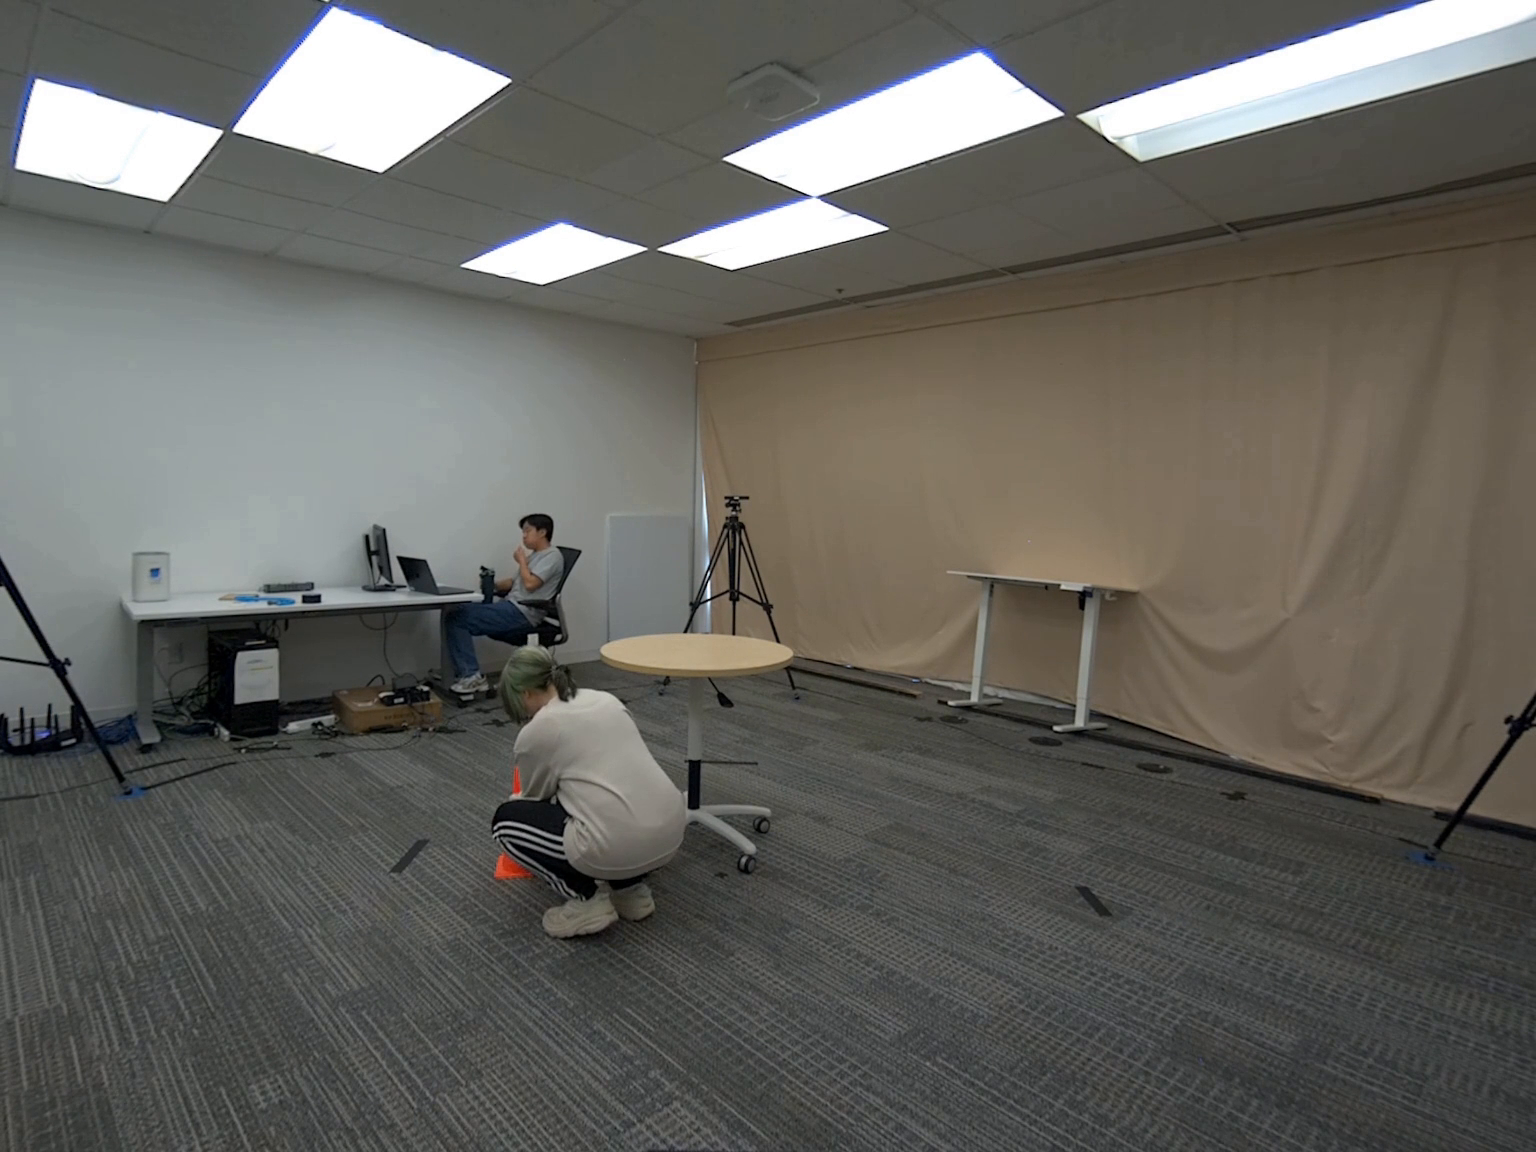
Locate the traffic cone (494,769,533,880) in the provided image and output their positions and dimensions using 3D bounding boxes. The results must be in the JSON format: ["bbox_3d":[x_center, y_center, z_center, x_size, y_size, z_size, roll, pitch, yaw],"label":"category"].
[{"bbox_3d":[-0.921,0.901,3.127,0.202,0.382,0.207,1,5,-8],"label":"traffic cone"}]
